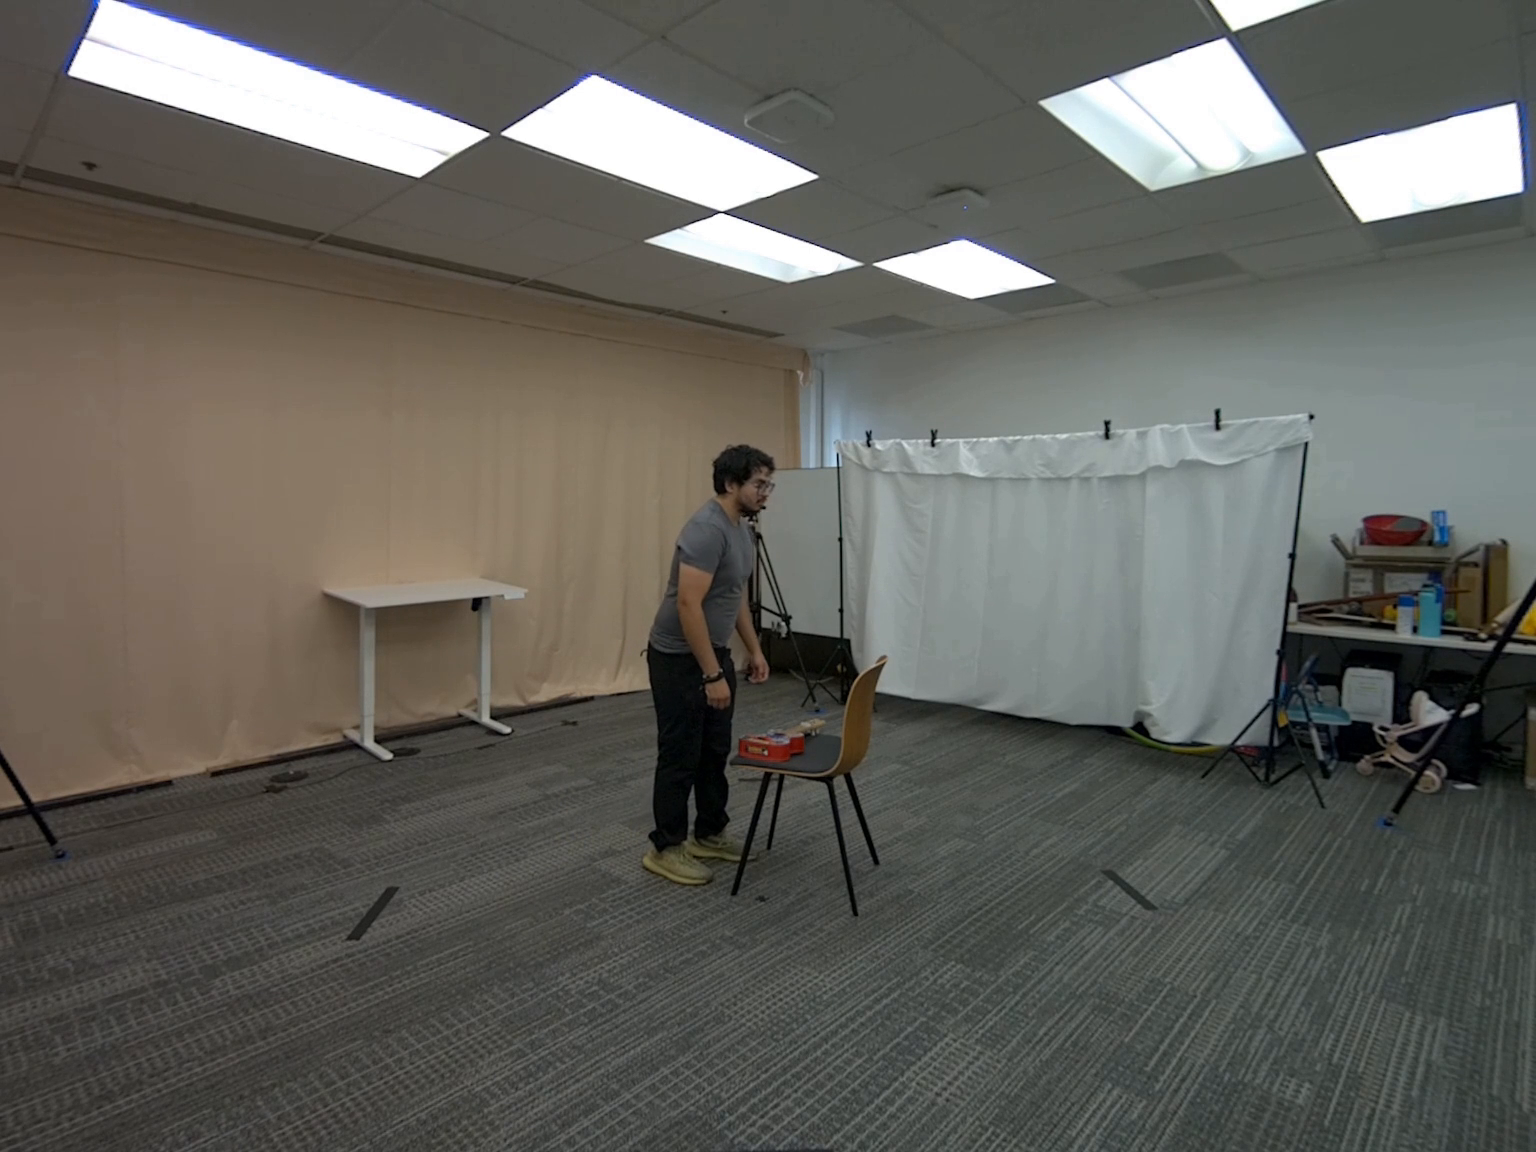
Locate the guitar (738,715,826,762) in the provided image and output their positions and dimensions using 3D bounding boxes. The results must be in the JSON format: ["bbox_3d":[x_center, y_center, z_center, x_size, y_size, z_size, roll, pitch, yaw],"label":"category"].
[{"bbox_3d":[0.107,0.617,3.154,0.199,0.070,0.482,4,3,42],"label":"guitar"}]
